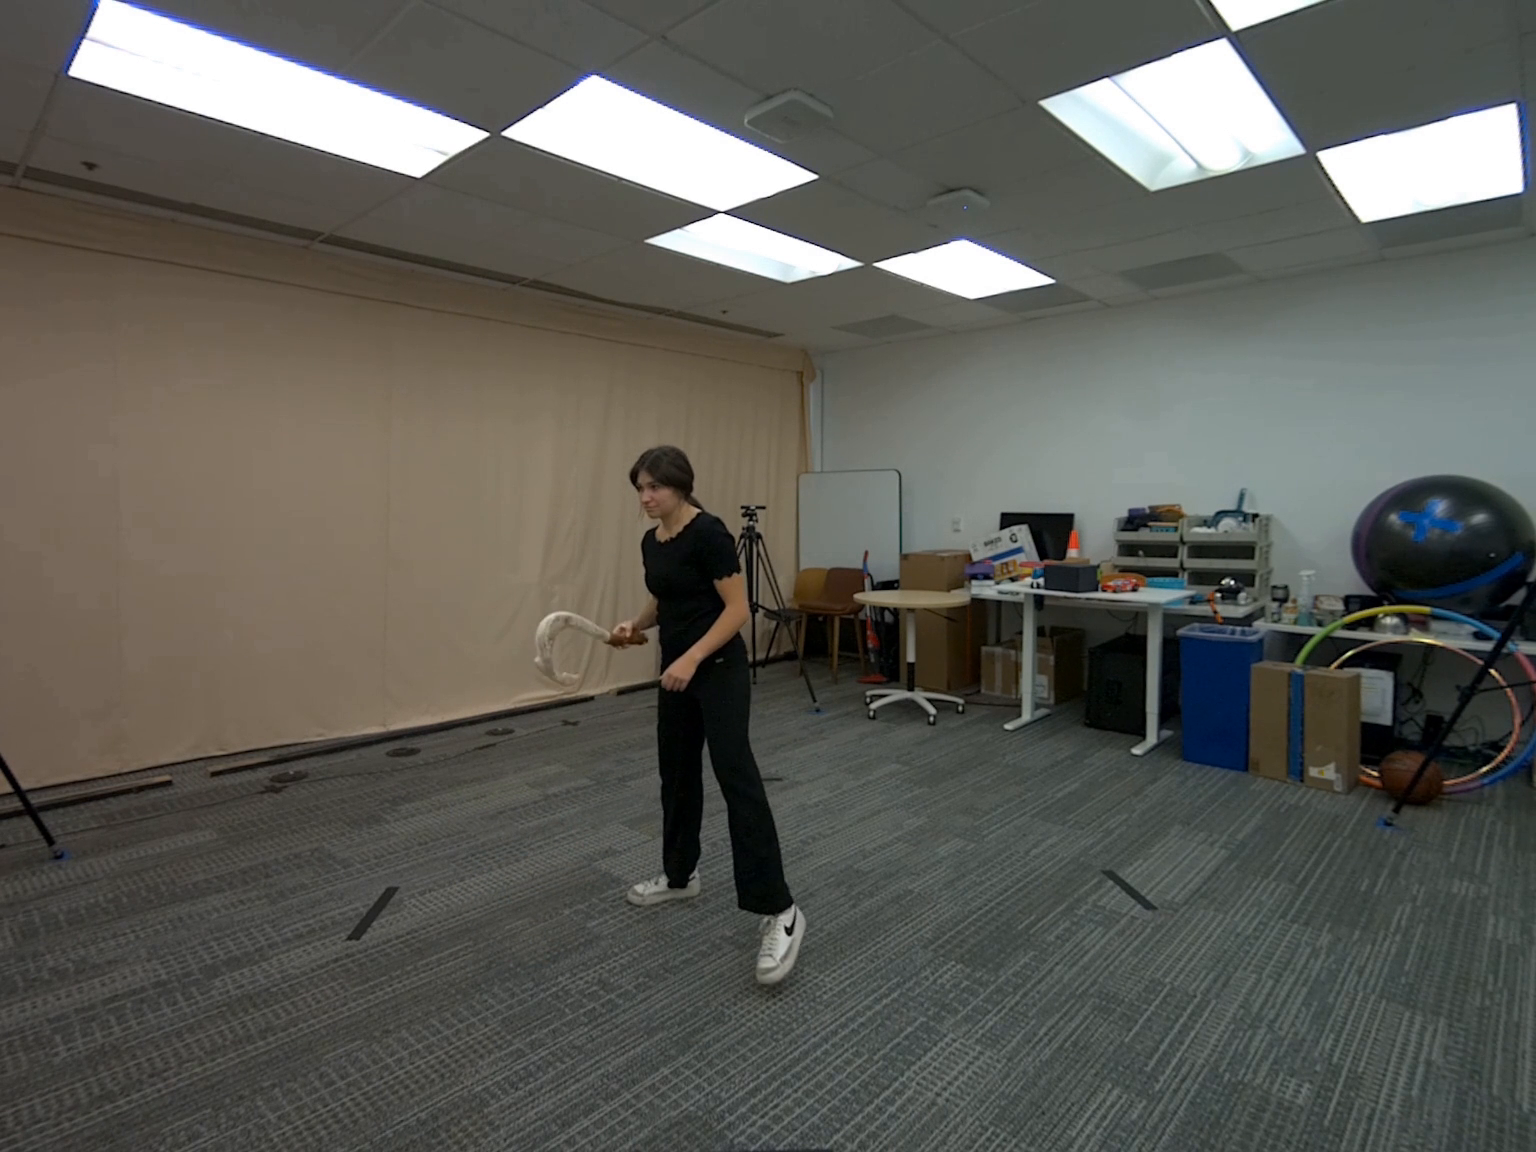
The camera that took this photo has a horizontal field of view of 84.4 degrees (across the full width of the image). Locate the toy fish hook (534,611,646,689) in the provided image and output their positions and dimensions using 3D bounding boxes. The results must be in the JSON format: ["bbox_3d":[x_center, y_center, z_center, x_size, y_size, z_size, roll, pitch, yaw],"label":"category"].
[{"bbox_3d":[-0.560,0.246,2.684,0.050,0.225,0.490,6,-5,33],"label":"toy fish hook"}]
